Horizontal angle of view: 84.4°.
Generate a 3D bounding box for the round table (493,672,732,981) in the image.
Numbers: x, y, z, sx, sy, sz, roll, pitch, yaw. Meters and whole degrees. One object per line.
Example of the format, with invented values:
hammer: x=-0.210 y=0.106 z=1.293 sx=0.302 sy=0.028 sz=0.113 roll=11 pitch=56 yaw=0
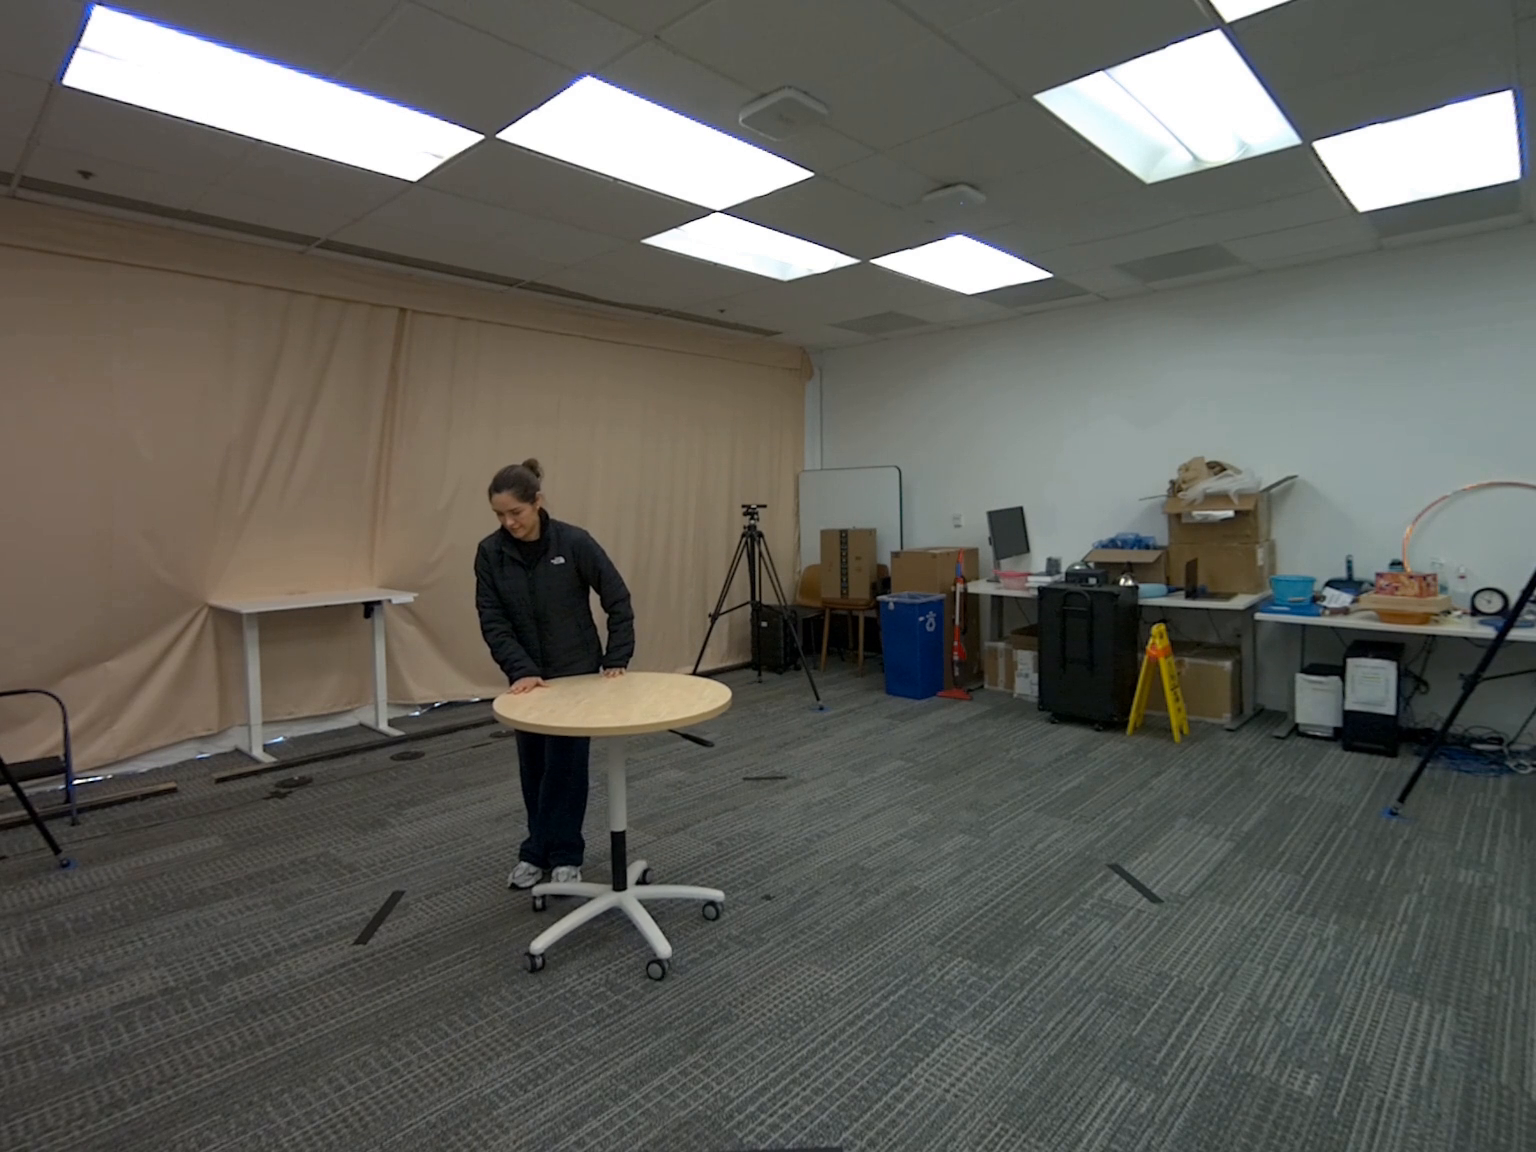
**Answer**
round table: x=-0.484 y=0.776 z=2.762 sx=0.784 sy=0.785 sz=0.788 roll=-1 pitch=4 yaw=-2
